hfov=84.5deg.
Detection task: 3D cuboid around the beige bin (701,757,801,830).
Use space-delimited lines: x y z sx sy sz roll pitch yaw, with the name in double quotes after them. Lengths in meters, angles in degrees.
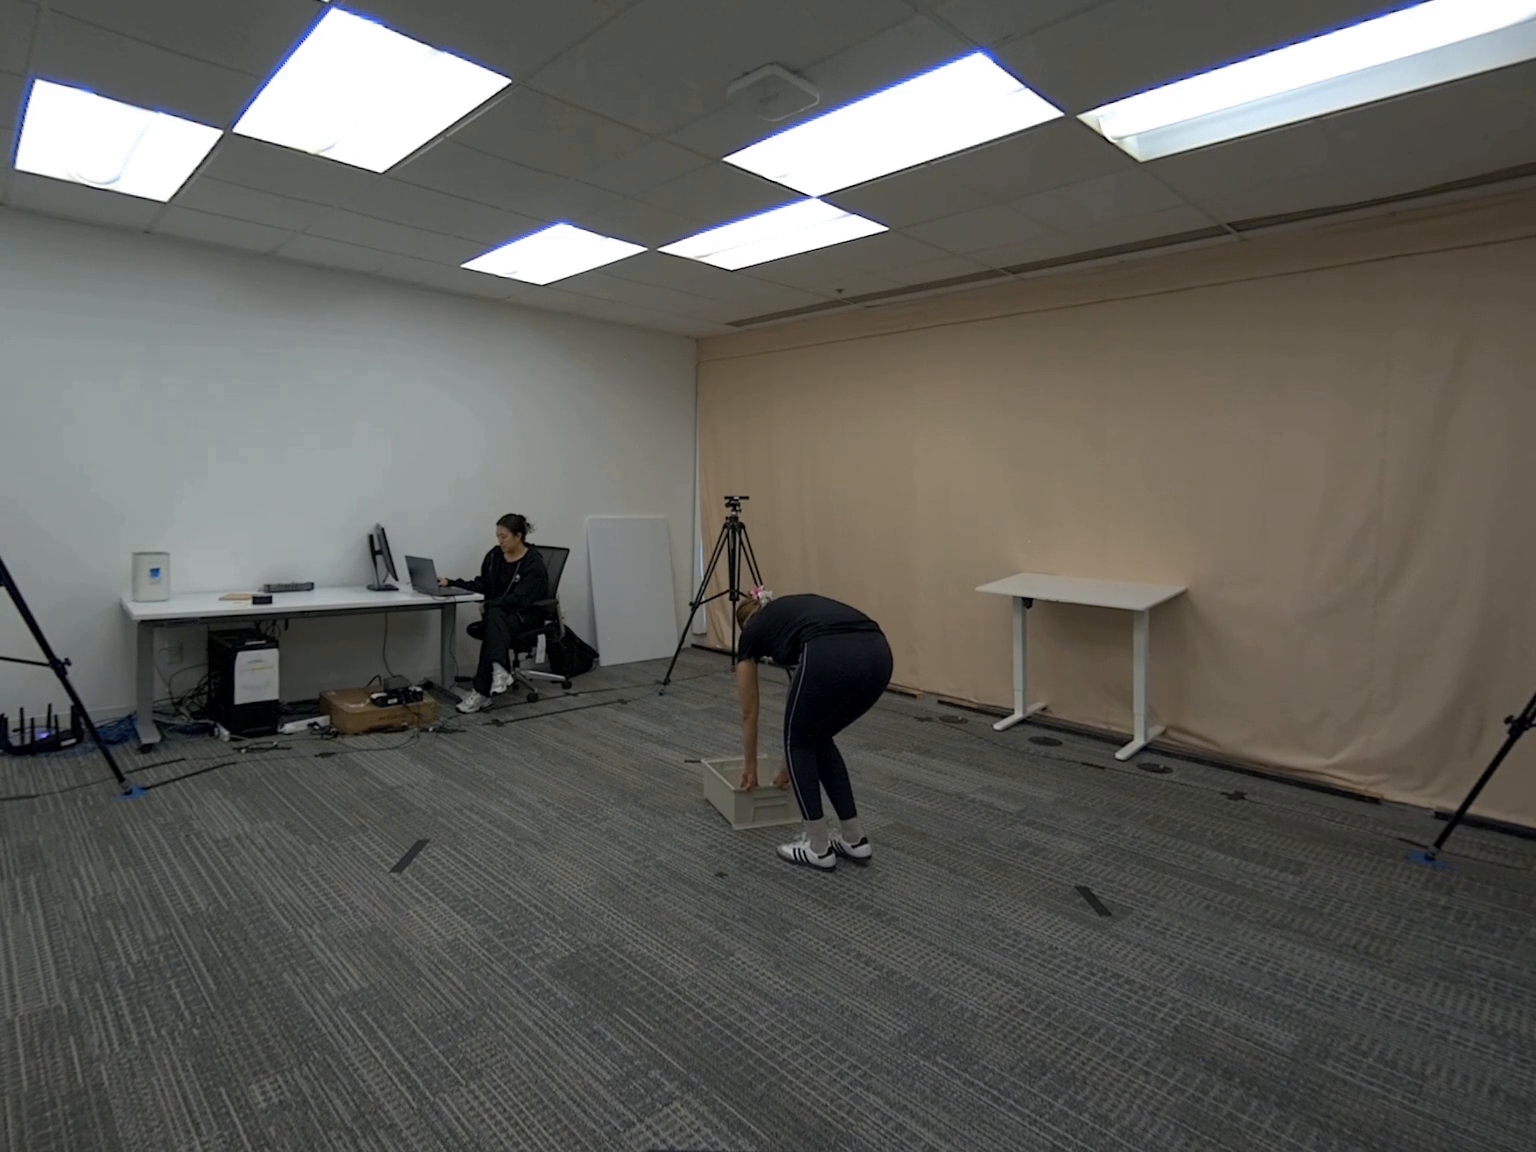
-0.066 0.955 3.777 0.371 0.188 0.431 -2 7 -23 "beige bin"
